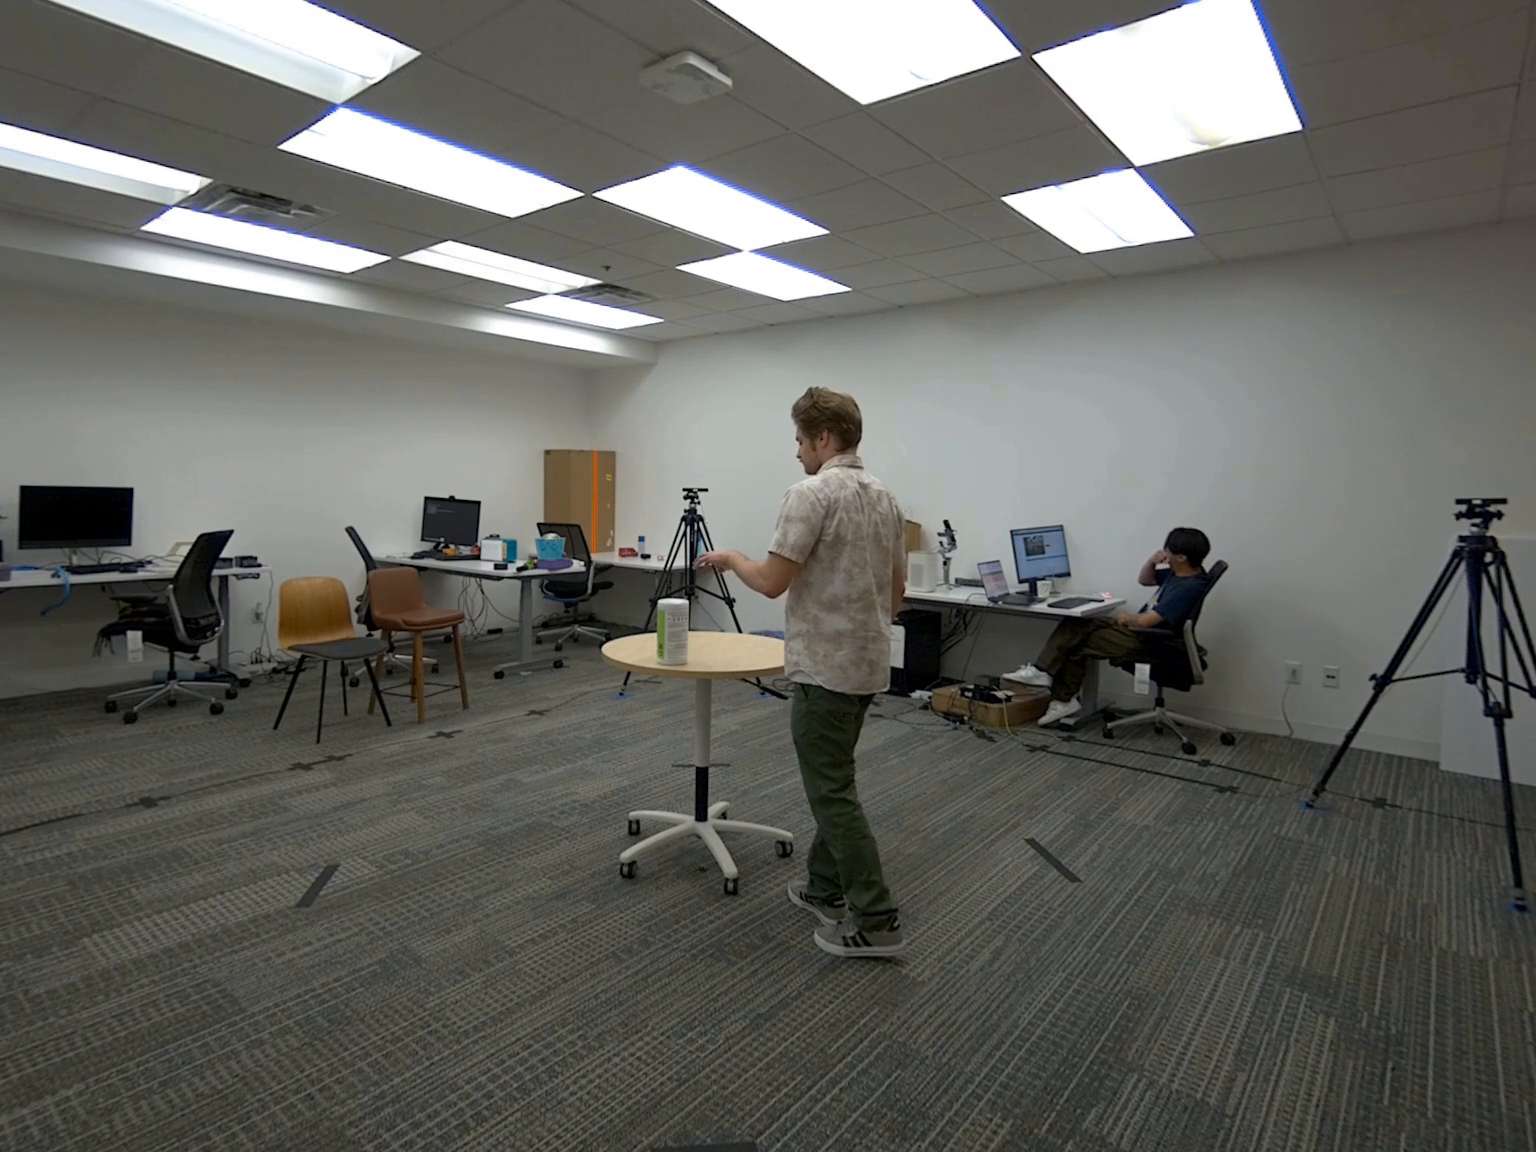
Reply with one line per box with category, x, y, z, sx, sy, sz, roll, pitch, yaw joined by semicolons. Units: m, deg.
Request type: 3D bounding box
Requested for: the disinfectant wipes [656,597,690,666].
disinfectant wipes;-0.338;0.191;2.924;0.118;0.216;0.118;0;5;-2
